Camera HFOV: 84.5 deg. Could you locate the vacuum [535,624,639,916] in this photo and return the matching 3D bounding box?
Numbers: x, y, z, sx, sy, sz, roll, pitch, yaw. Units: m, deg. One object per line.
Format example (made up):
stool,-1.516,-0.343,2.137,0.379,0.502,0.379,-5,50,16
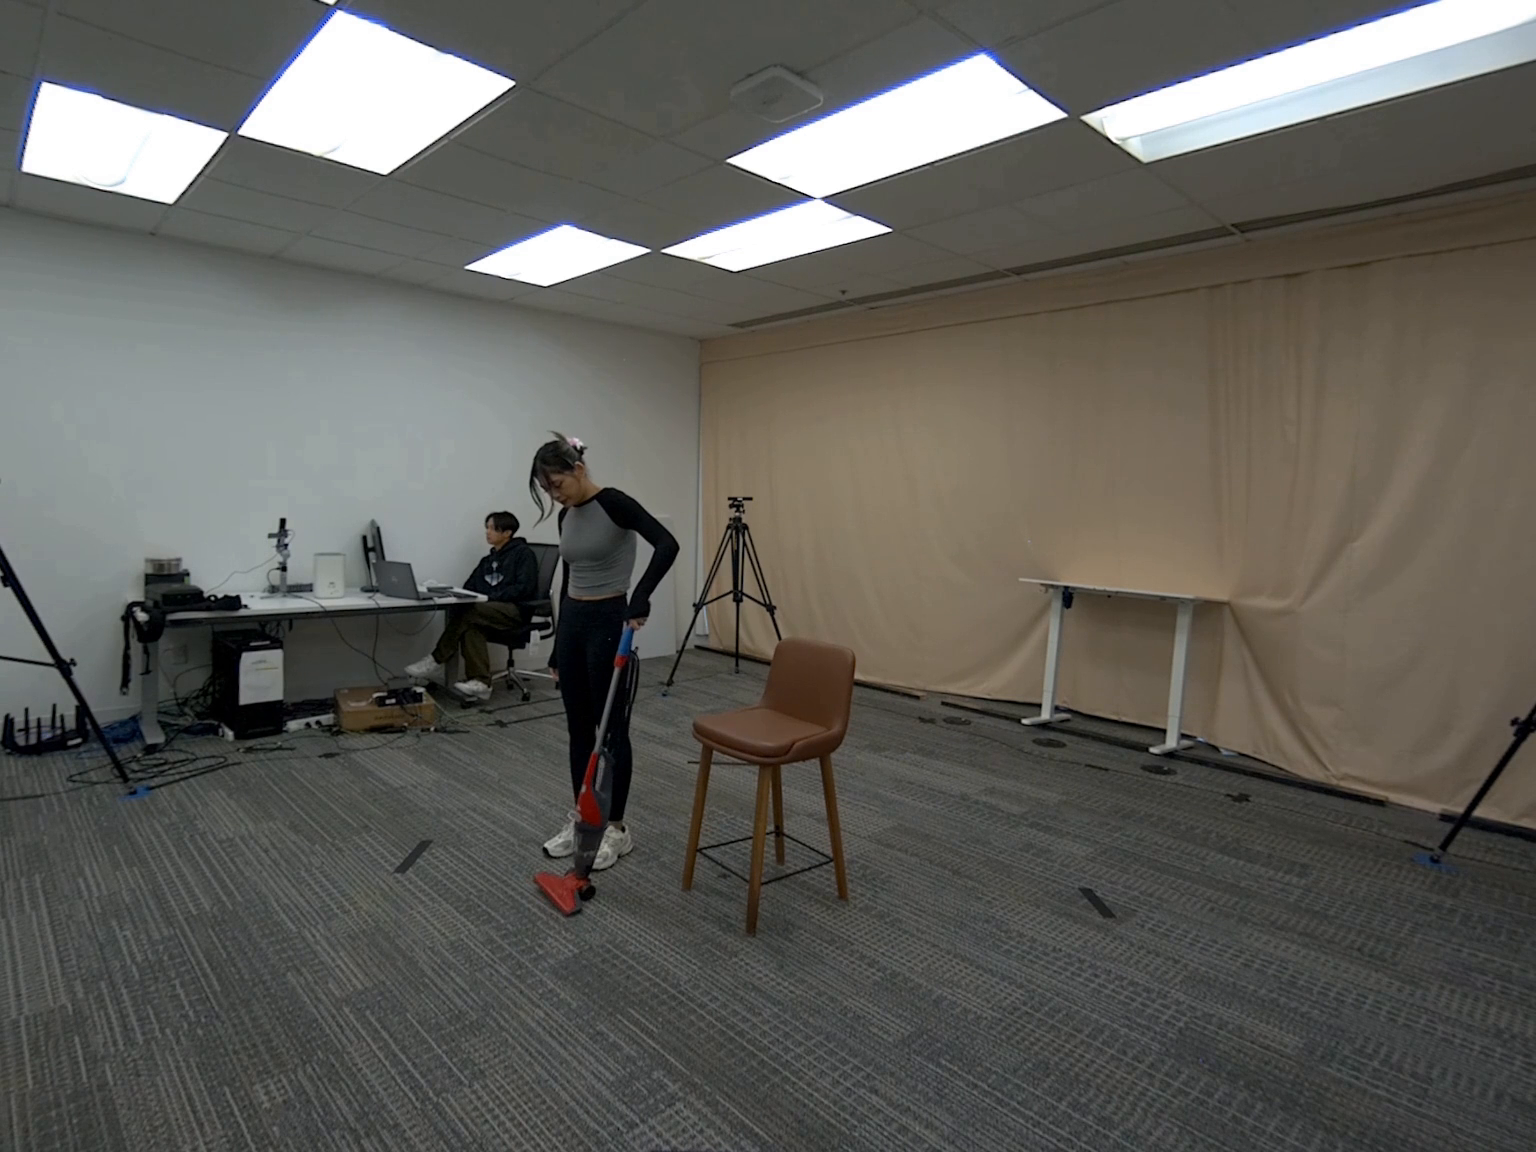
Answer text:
vacuum,-0.551,0.618,2.894,0.260,1.049,0.140,16,-1,42
